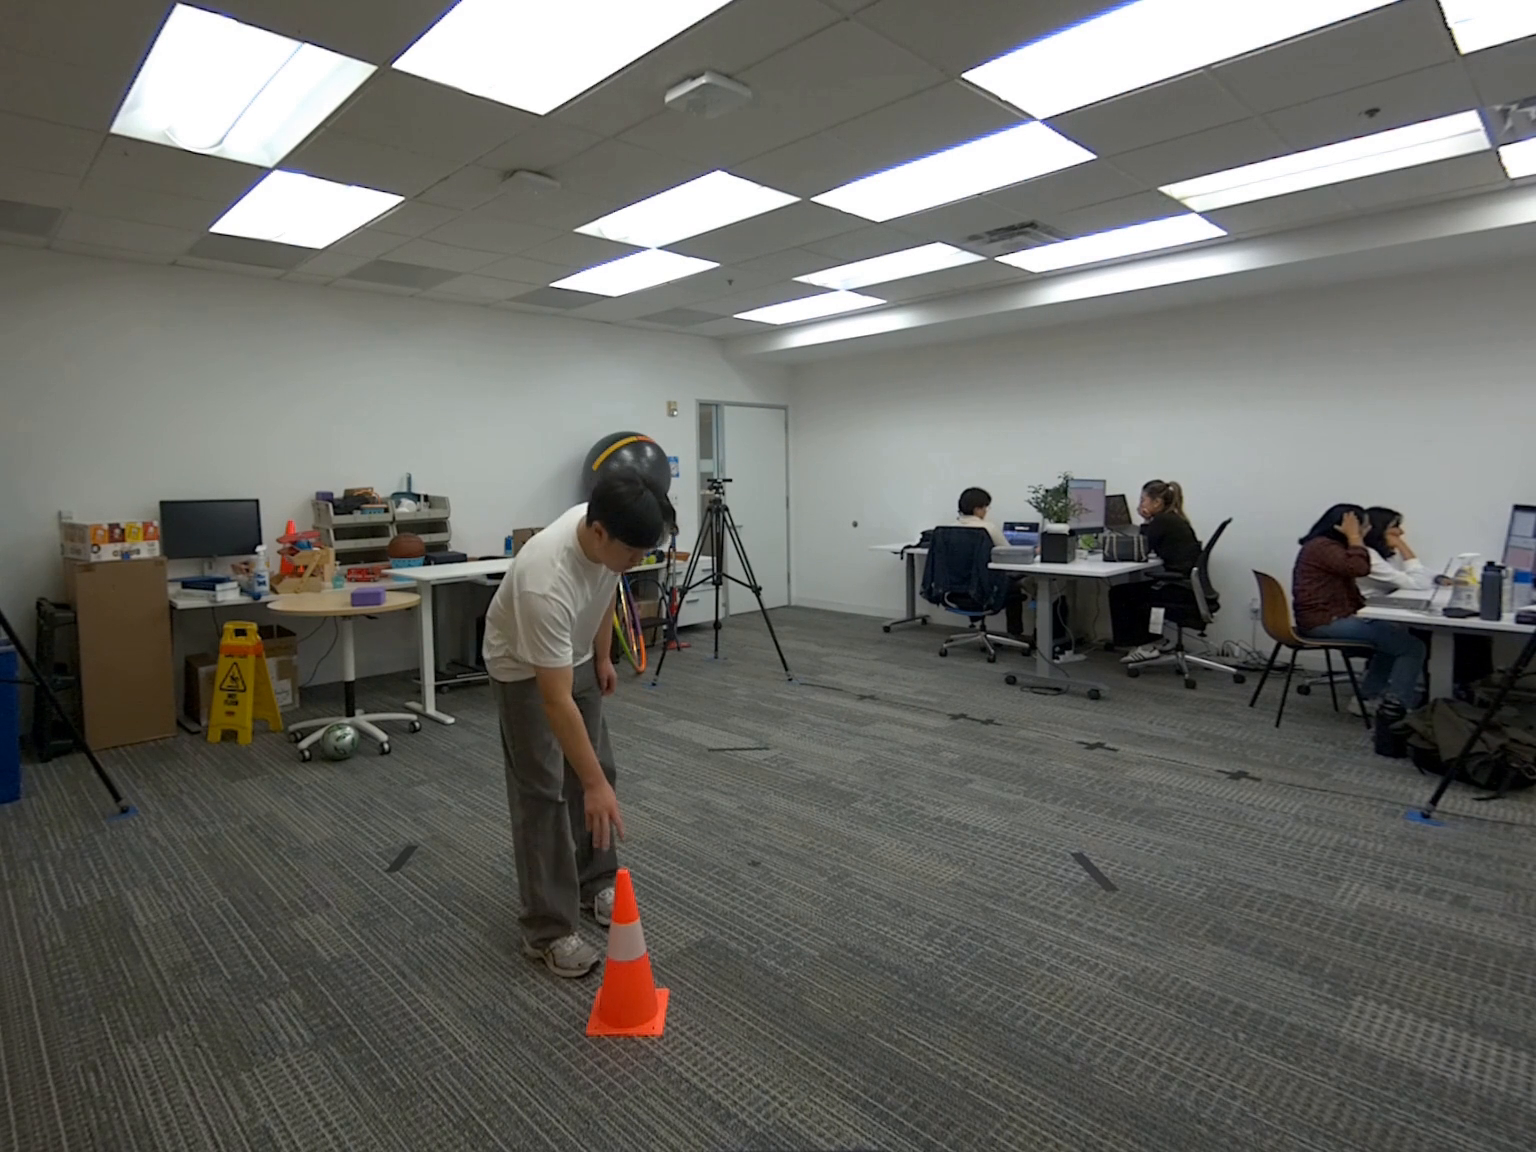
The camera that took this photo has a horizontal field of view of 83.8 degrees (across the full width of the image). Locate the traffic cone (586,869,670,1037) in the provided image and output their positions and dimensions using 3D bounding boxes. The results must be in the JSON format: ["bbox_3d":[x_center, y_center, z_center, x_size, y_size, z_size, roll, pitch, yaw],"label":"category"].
[{"bbox_3d":[-0.365,0.968,2.243,0.203,0.382,0.206,-3,4,-2],"label":"traffic cone"}]
